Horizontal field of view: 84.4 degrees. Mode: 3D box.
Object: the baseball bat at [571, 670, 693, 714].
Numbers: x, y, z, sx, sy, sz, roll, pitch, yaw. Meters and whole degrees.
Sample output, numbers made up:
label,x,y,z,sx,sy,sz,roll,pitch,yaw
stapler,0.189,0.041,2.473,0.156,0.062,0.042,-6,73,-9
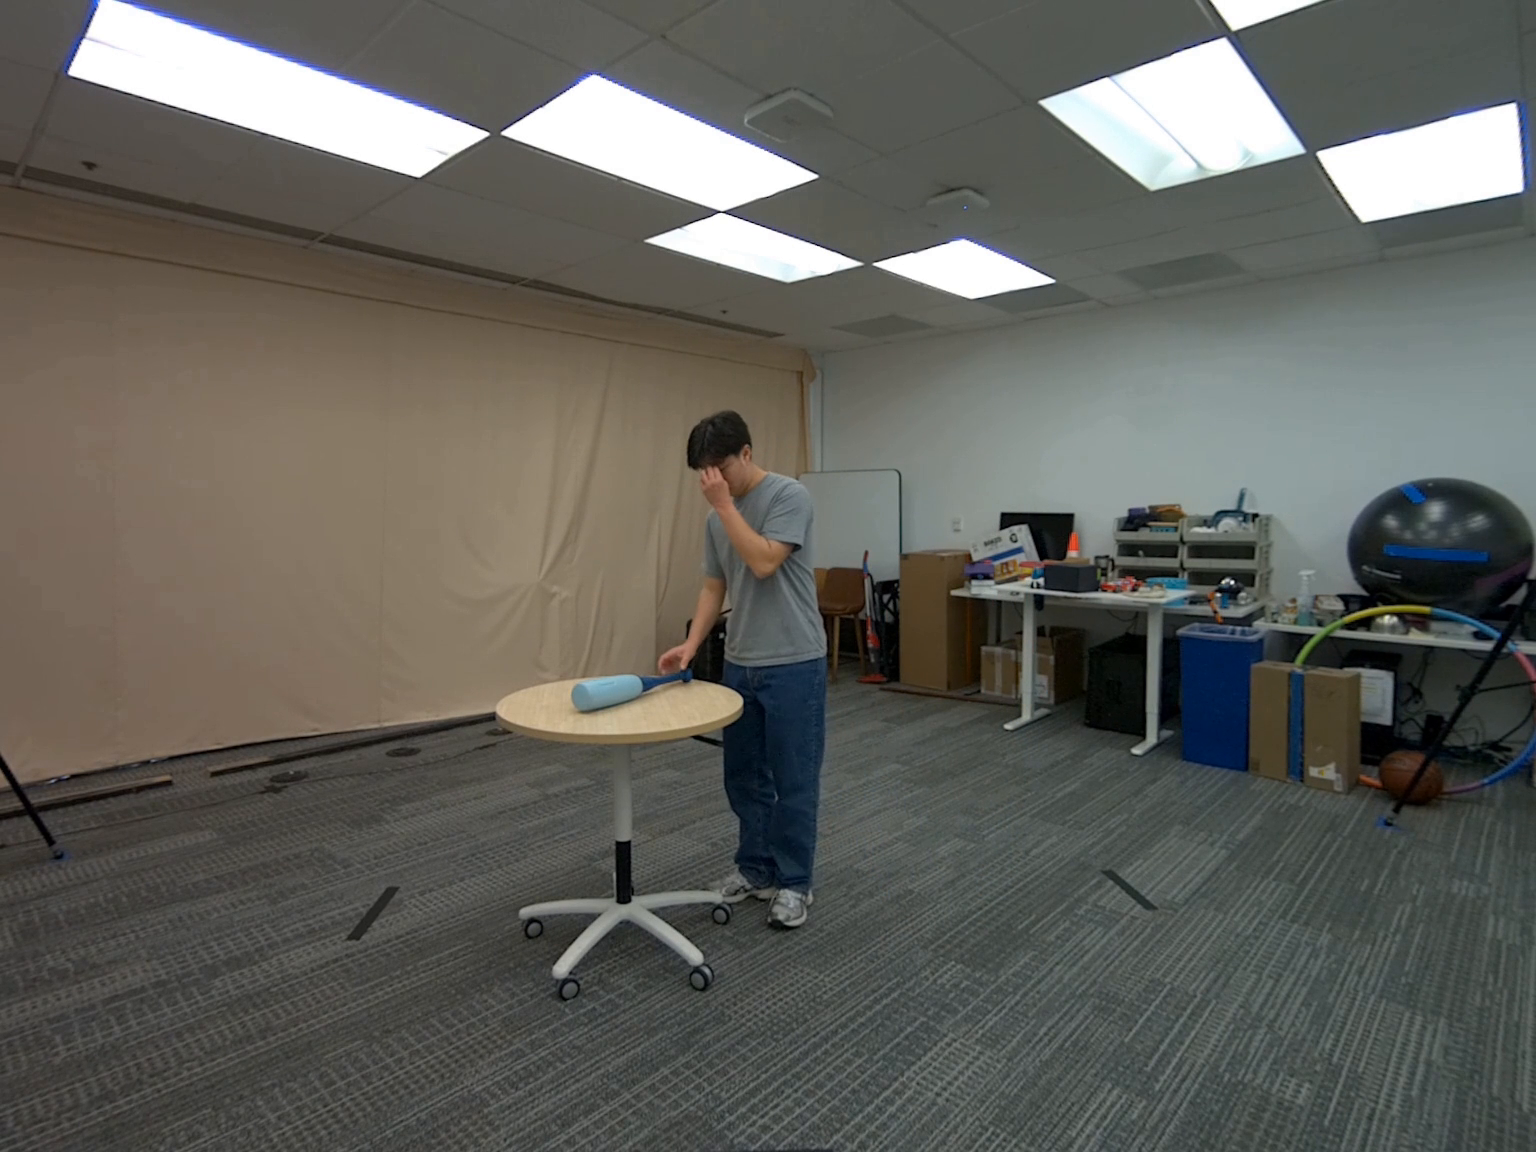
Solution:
label,x,y,z,sx,sy,sz,roll,pitch,yaw
baseball bat,-0.418,0.353,2.692,0.092,0.089,0.527,2,2,31
